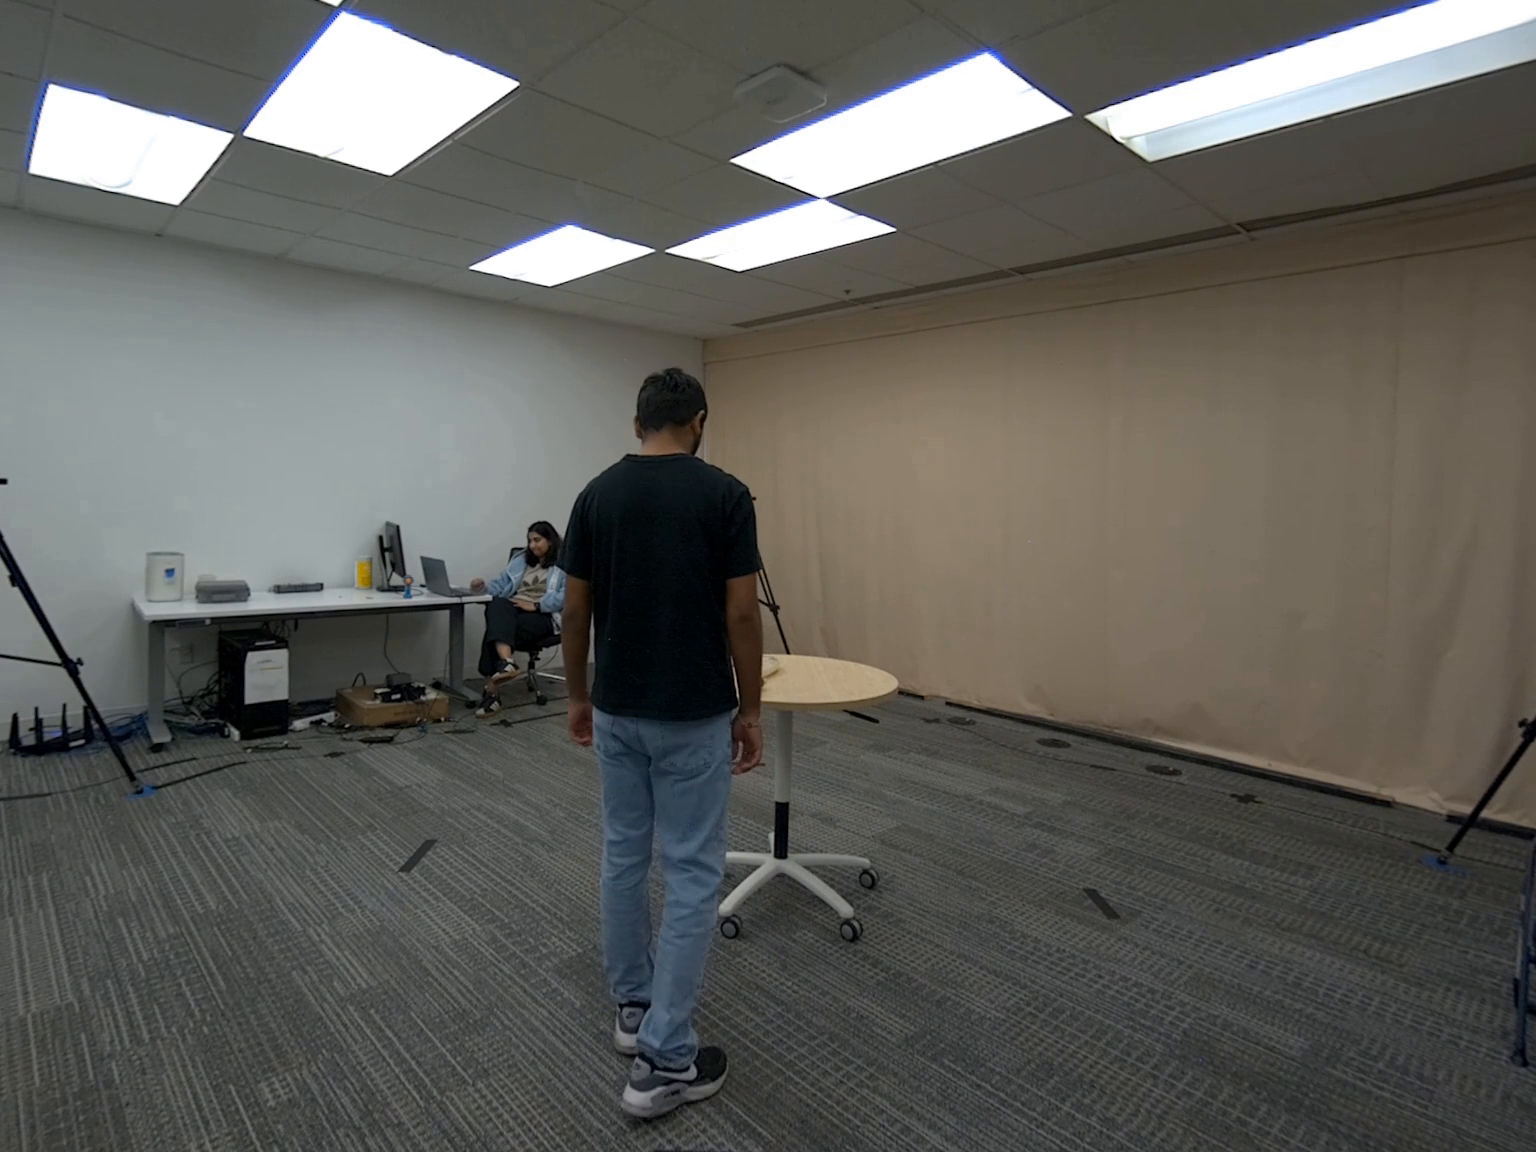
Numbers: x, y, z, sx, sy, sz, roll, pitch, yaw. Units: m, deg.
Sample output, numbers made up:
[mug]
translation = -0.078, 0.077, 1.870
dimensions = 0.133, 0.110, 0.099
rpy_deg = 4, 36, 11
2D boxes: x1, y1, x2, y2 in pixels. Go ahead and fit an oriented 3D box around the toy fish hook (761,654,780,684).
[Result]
[toy fish hook]
translation = -0.086, 0.339, 2.838
dimensions = 0.226, 0.048, 0.505
rpy_deg = -6, 3, 6
